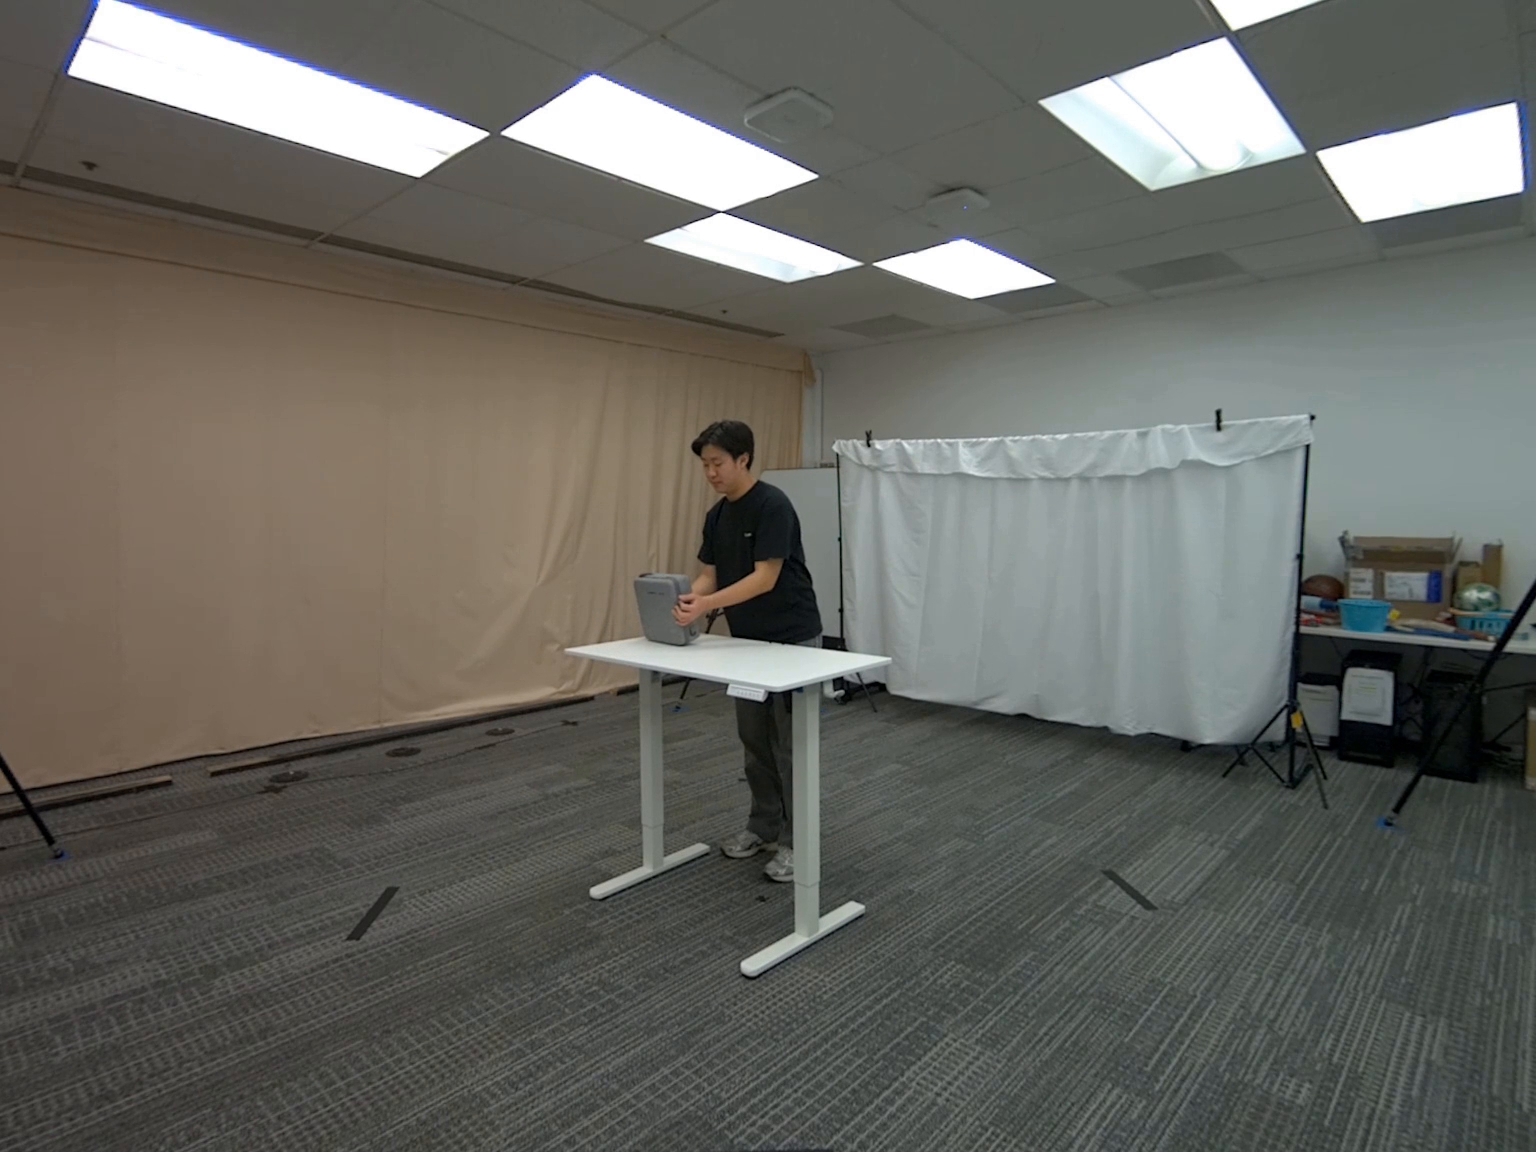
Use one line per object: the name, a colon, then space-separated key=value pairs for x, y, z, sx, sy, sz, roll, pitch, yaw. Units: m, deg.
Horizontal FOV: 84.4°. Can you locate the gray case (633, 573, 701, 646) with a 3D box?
gray case: x=-0.372 y=0.124 z=3.148 sx=0.102 sy=0.259 sz=0.265 roll=-17 pitch=12 yaw=-39
